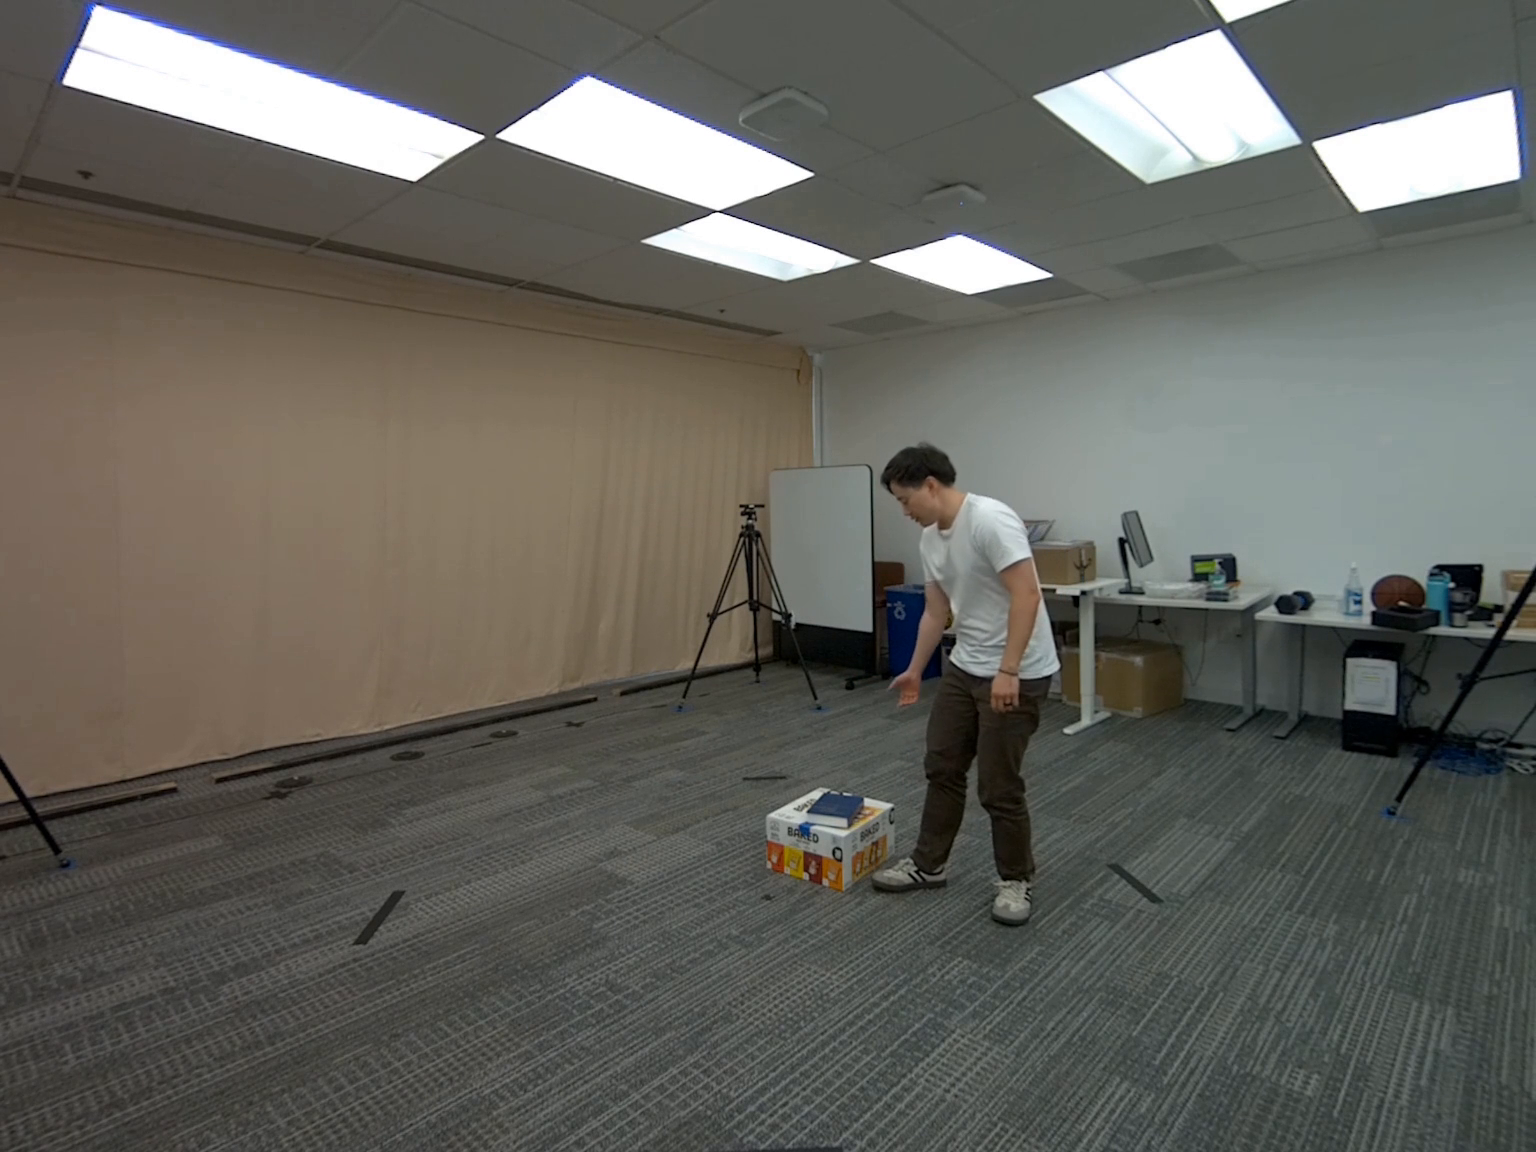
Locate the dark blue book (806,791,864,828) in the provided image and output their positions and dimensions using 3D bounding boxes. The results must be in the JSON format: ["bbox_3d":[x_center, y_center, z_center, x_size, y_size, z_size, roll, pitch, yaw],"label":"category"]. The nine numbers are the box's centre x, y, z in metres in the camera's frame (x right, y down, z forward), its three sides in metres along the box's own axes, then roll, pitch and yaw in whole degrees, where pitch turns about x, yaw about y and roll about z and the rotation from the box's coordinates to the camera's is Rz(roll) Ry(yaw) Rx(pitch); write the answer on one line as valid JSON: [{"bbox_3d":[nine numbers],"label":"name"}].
[{"bbox_3d":[0.268,0.898,3.228,0.167,0.045,0.240,0,4,21],"label":"dark blue book"}]
